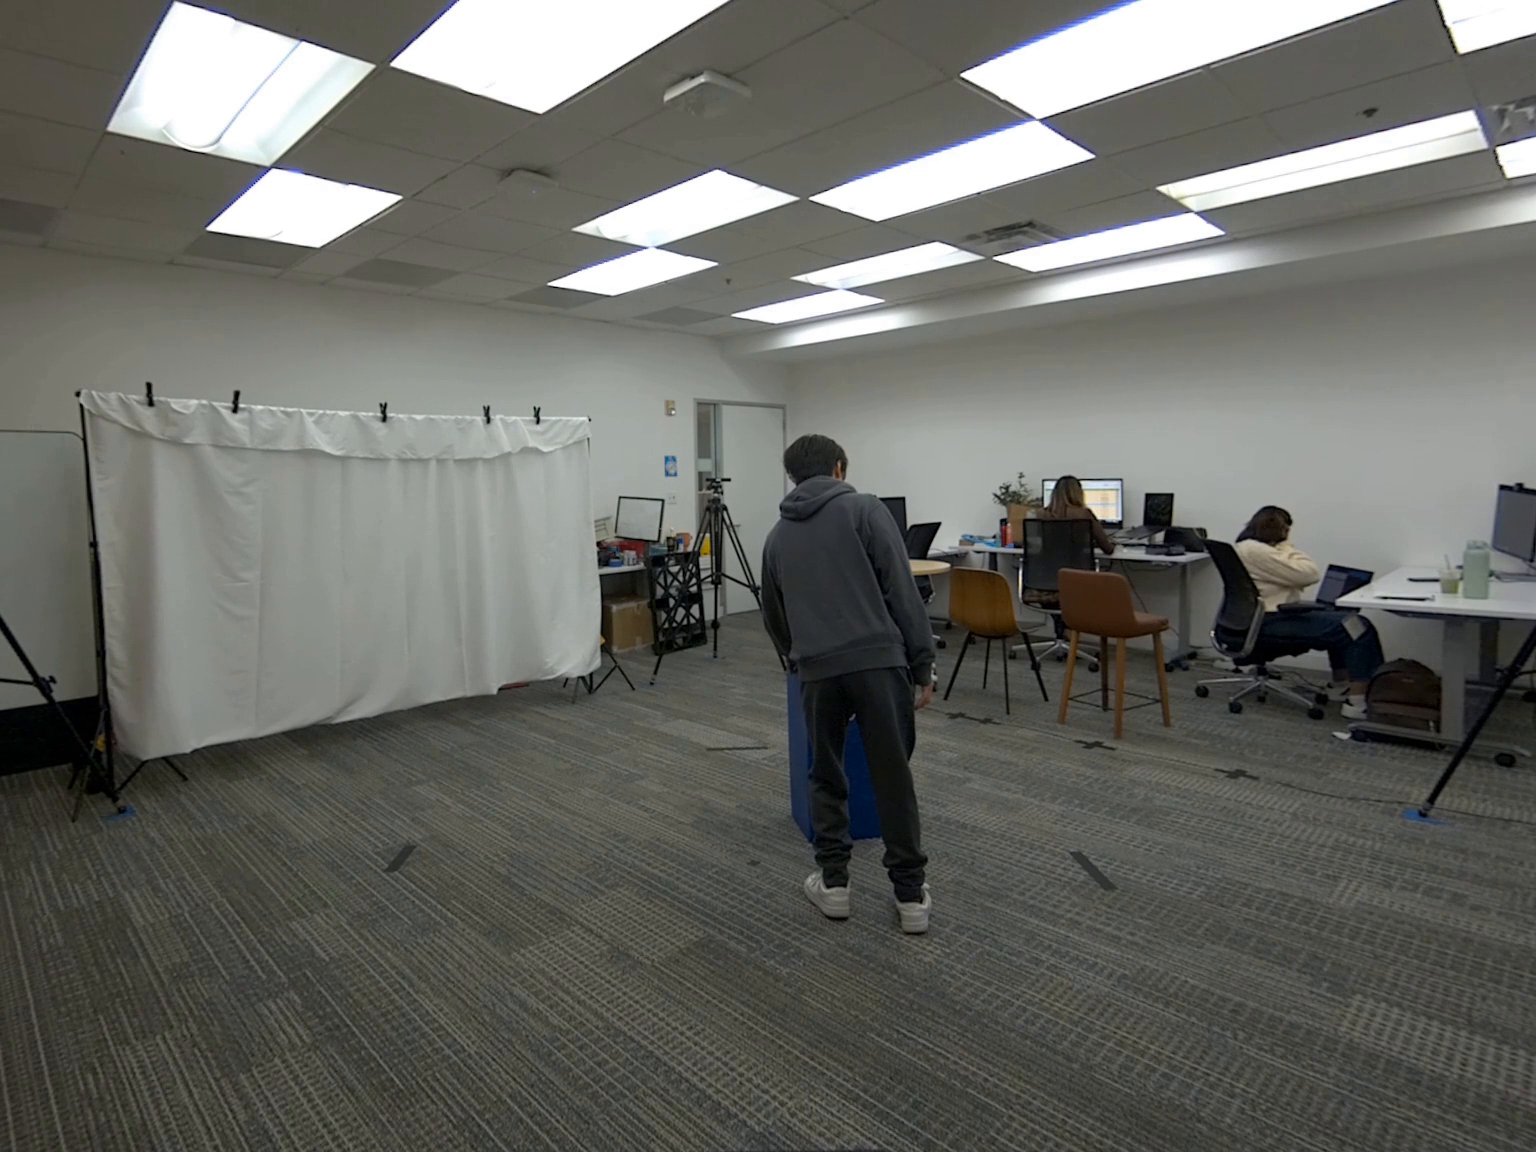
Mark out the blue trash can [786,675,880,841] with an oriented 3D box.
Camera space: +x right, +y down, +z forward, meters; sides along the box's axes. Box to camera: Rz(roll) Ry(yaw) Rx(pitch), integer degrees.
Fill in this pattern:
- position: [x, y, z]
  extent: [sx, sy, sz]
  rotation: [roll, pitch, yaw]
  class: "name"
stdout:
- position: [0.282, 0.651, 3.416]
  extent: [0.371, 0.711, 0.383]
  rotation: [-2, 3, -10]
  class: "blue trash can"
